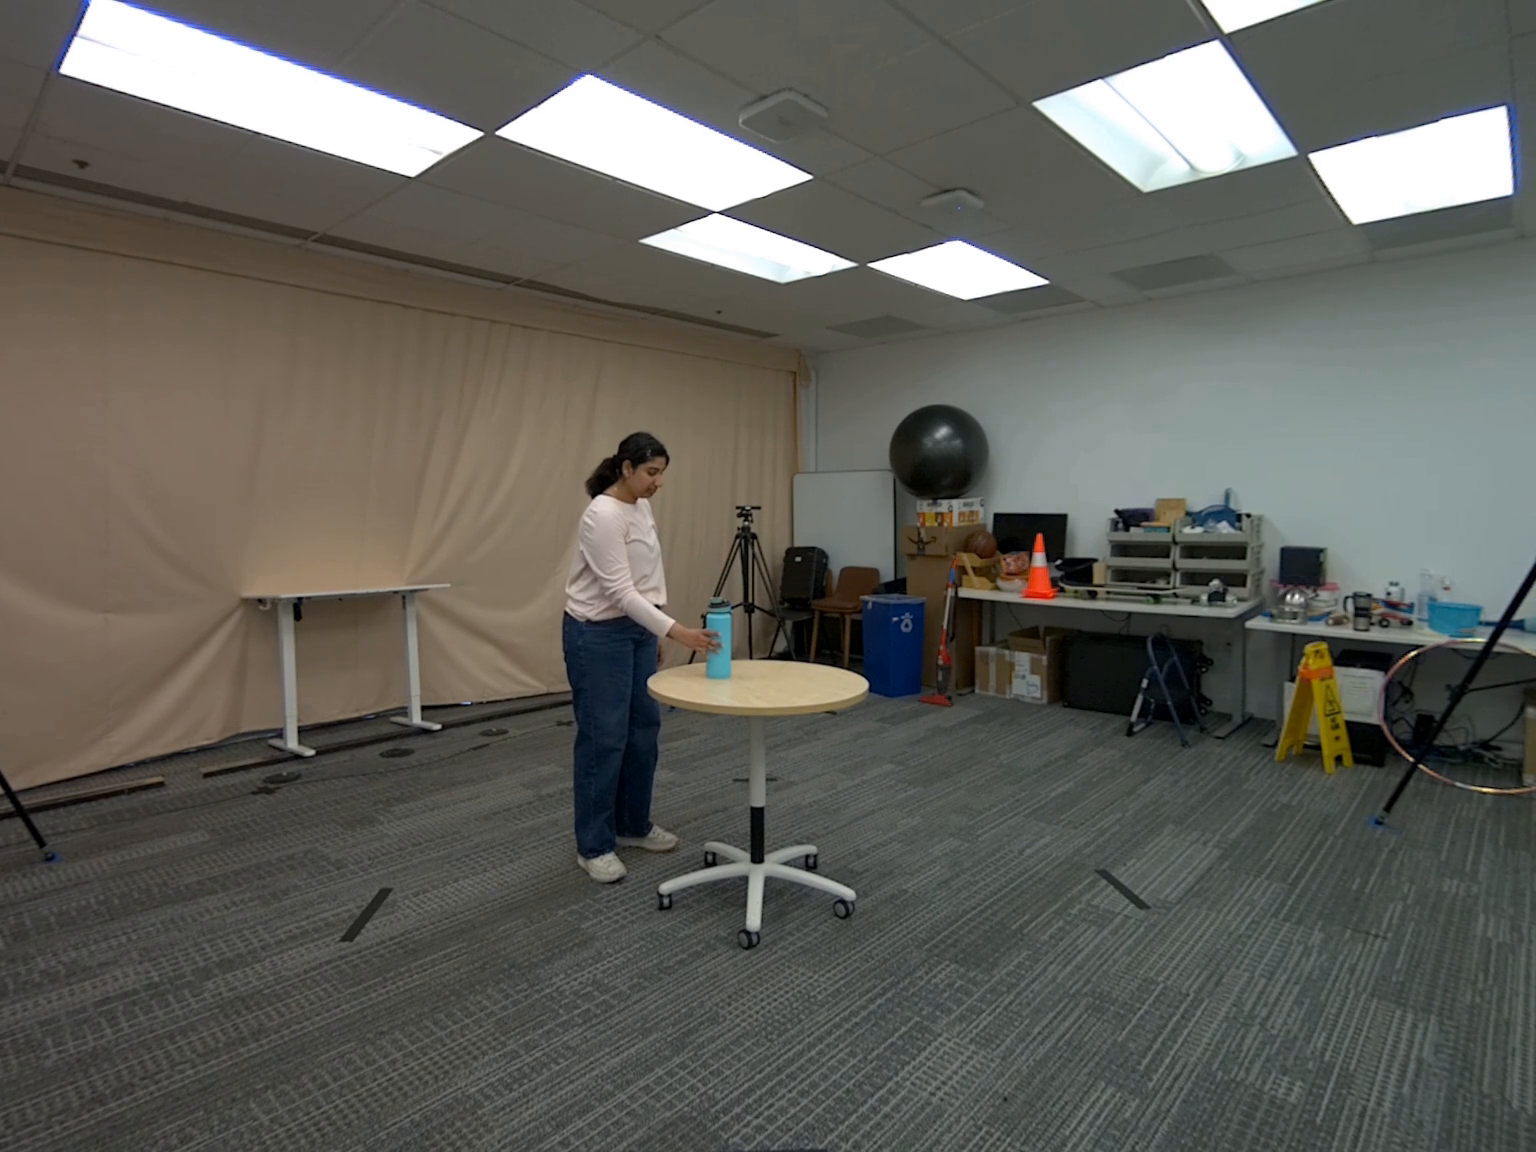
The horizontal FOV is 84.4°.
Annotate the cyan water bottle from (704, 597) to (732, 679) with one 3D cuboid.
[{"bbox_3d":[-0.168,0.220,2.995,0.092,0.283,0.092,3,2,-2],"label":"cyan water bottle"}]
